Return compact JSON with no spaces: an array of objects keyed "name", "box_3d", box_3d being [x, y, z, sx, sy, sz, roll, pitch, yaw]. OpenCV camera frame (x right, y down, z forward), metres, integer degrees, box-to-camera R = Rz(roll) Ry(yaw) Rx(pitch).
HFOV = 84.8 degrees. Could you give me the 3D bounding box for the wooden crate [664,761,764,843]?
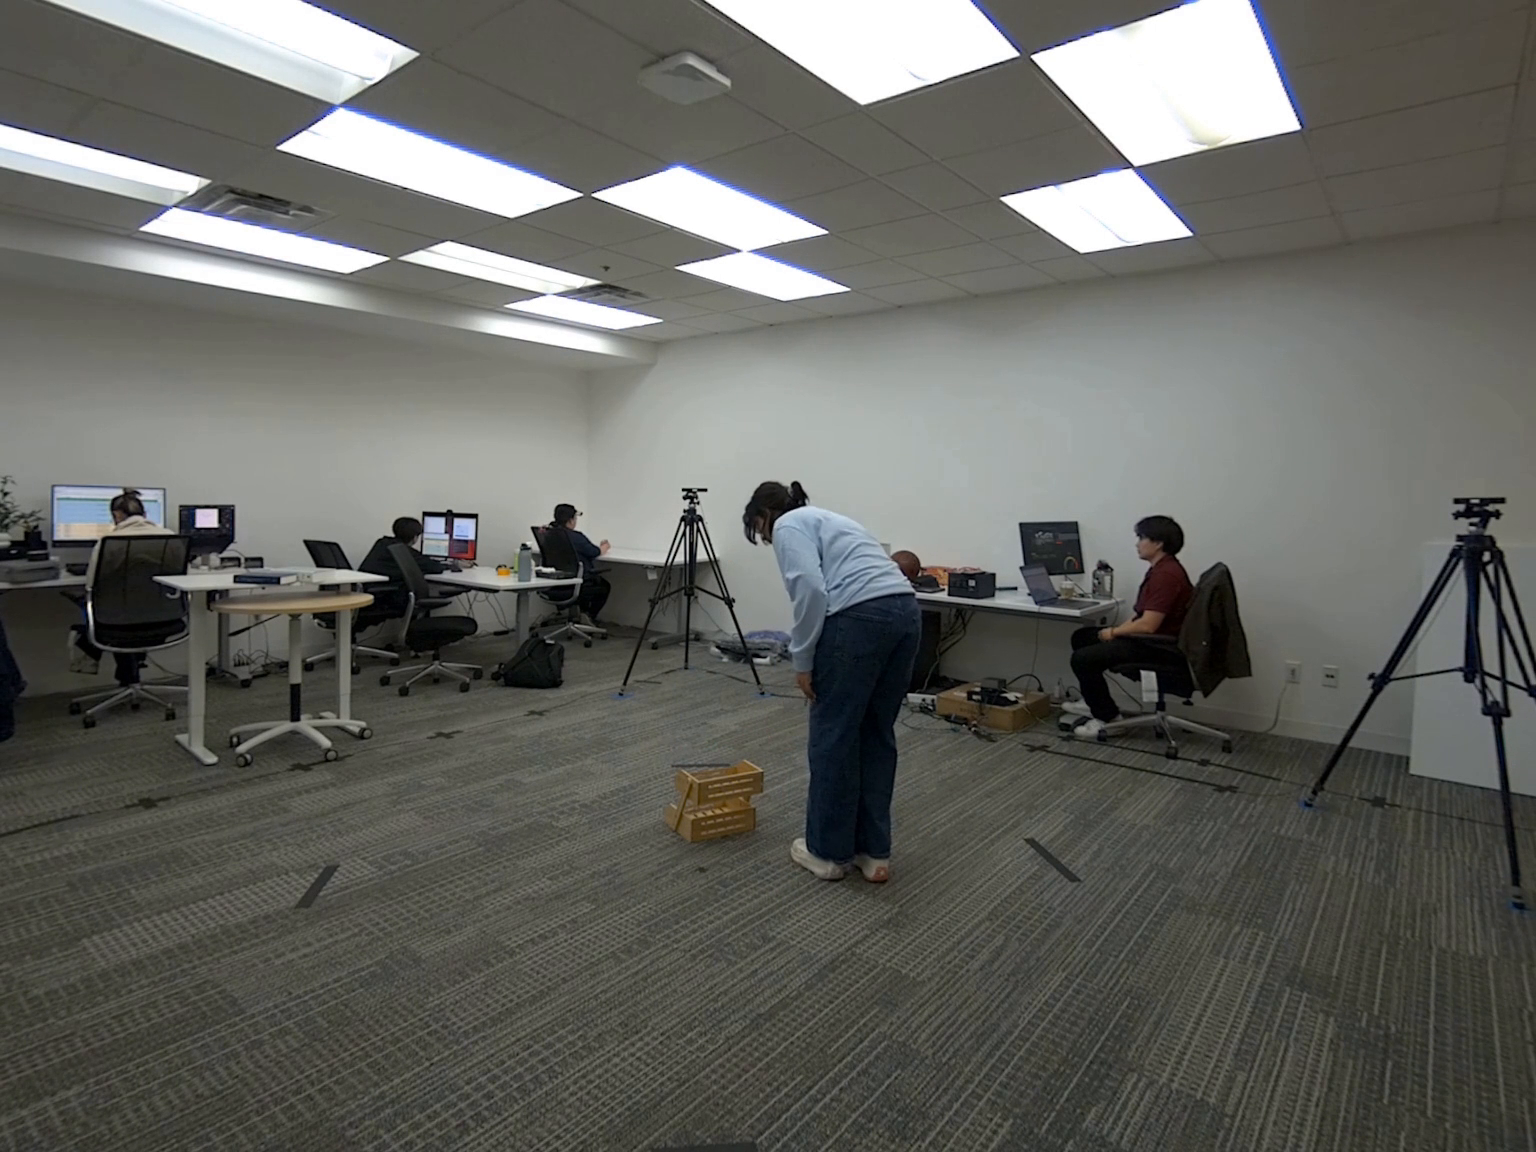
[{"name":"wooden crate","box_3d":[-0.240,0.897,3.499,0.316,0.272,0.311,-2,6,-32]}]
